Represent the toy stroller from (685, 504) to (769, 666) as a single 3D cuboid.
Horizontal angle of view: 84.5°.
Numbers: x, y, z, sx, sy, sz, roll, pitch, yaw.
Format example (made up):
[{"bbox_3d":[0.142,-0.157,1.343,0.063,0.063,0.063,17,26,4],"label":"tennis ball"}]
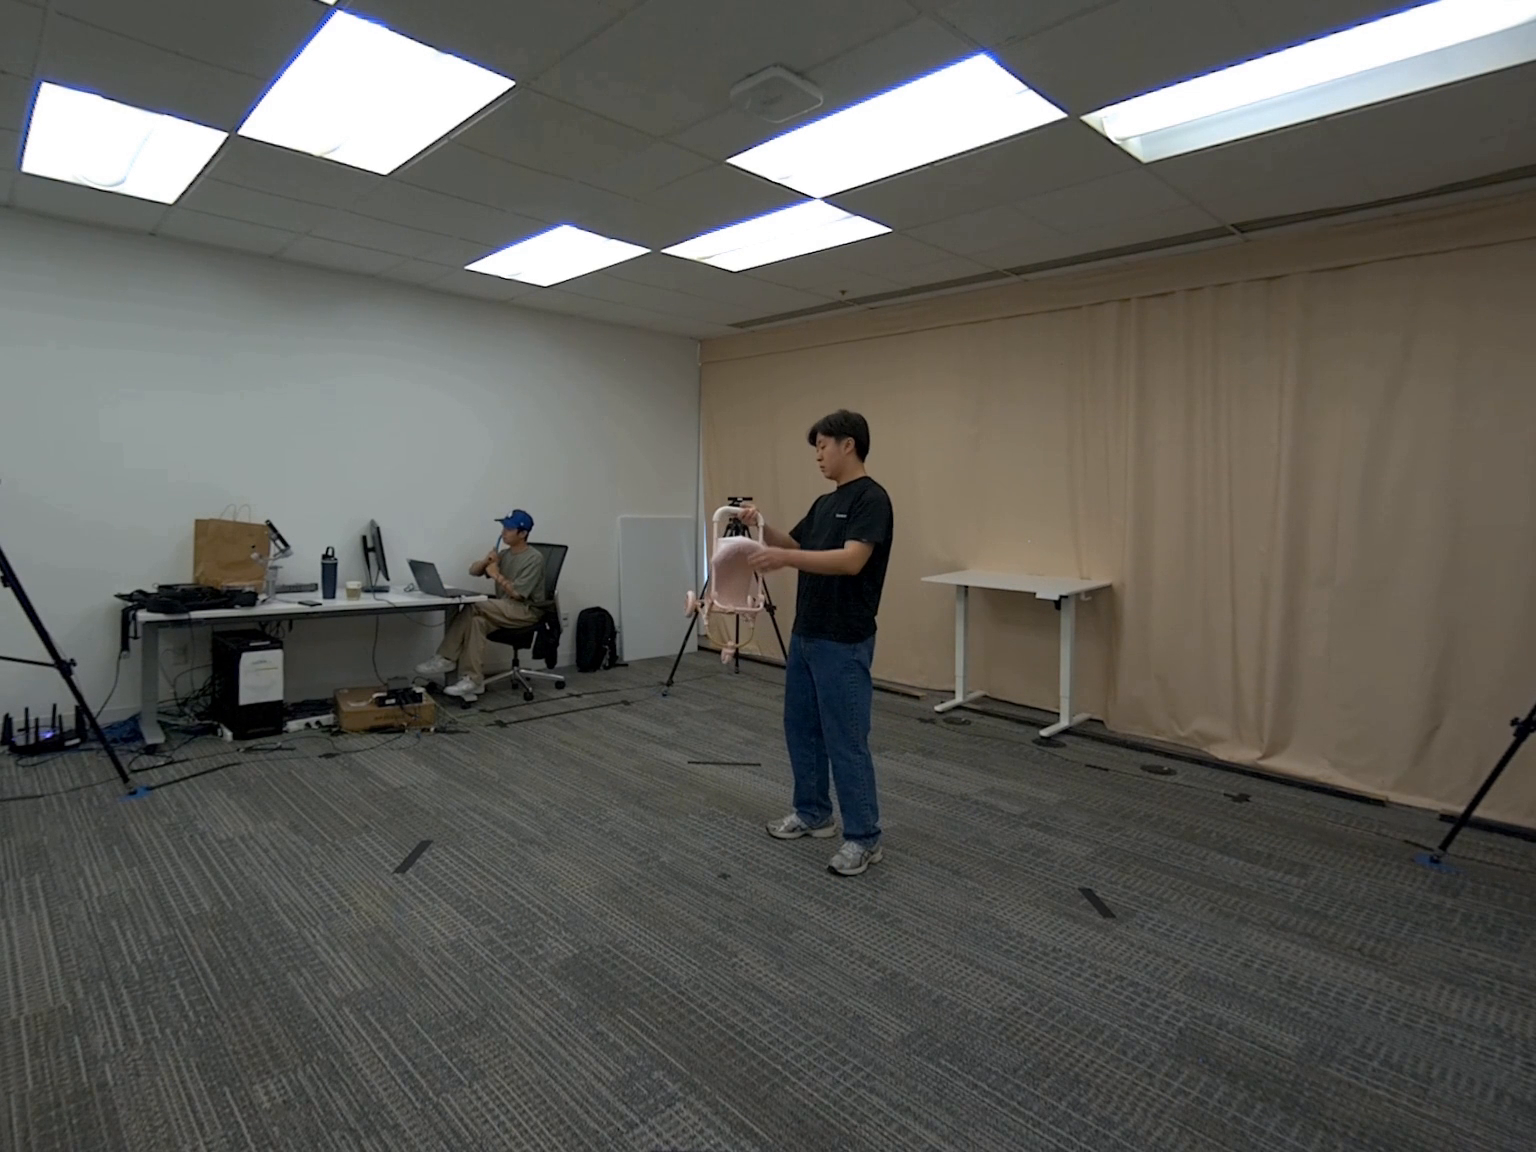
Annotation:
[{"bbox_3d":[-0.140,0.049,3.244,0.278,0.528,0.350,8,27,-15],"label":"toy stroller"}]
